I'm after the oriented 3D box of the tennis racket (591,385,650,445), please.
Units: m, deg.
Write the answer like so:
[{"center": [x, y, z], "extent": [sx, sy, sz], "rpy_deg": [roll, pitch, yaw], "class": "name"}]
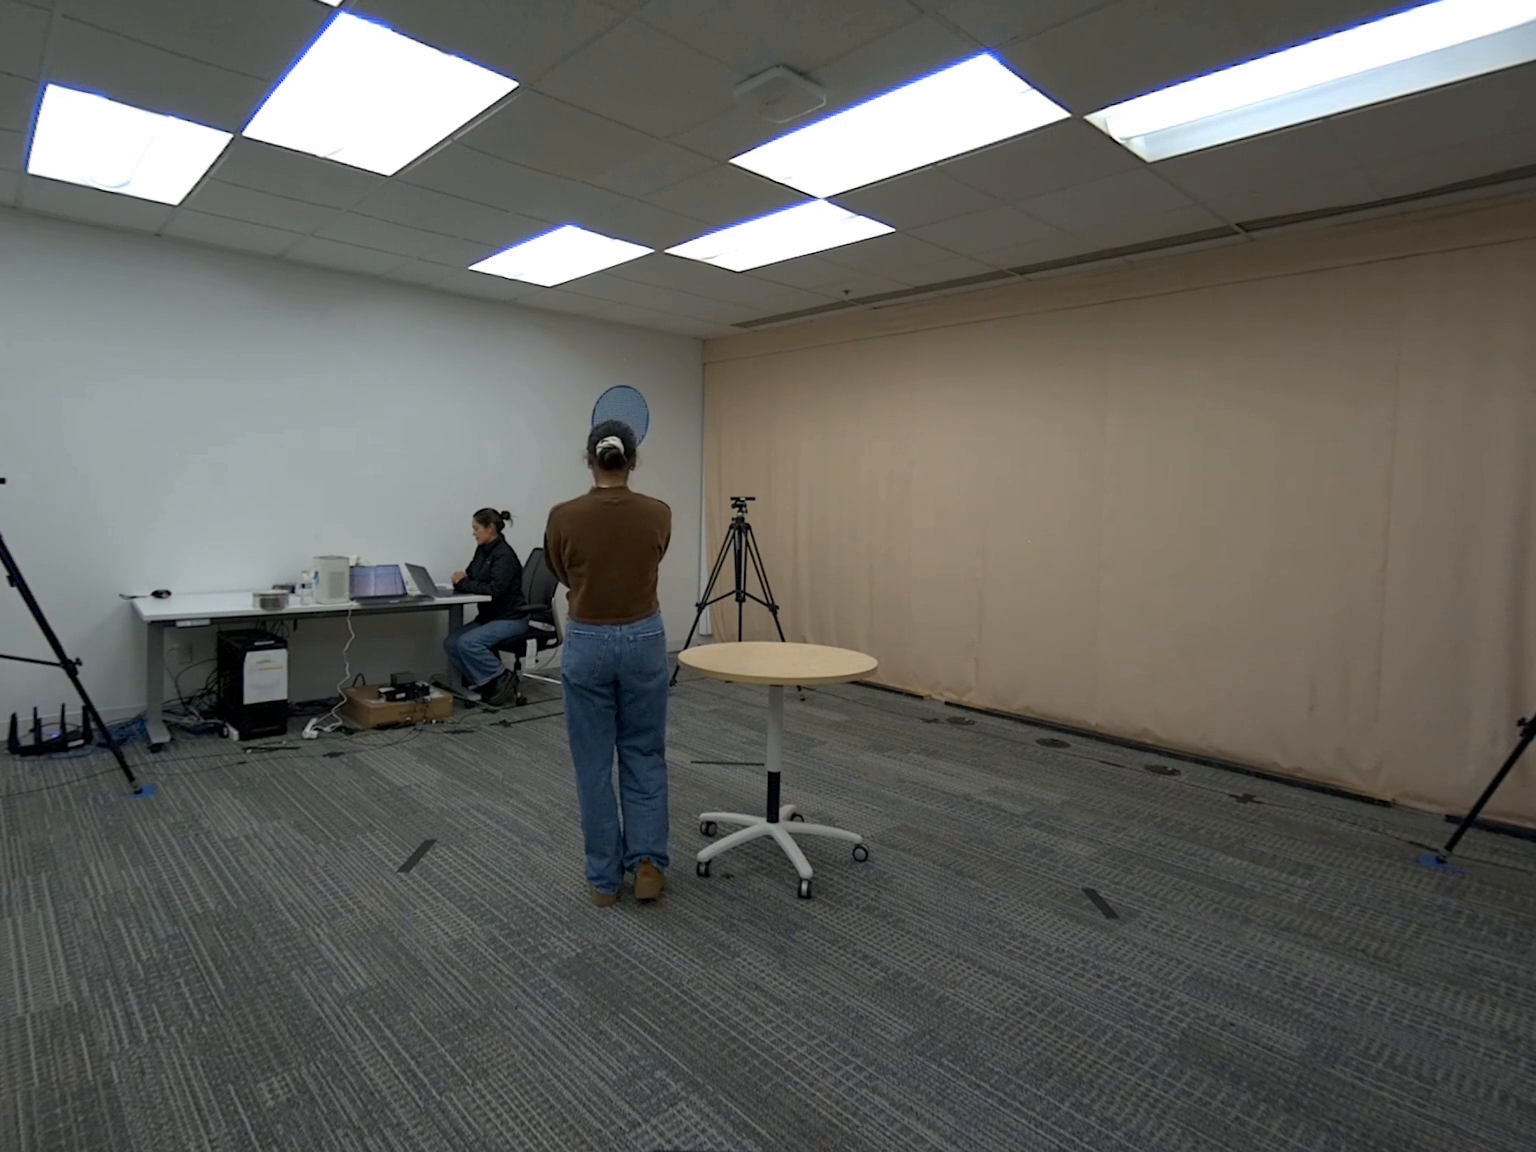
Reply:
[{"center": [-0.550, -0.499, 3.091], "extent": [0.214, 0.436, 0.031], "rpy_deg": [3, -11, 3], "class": "tennis racket"}]
